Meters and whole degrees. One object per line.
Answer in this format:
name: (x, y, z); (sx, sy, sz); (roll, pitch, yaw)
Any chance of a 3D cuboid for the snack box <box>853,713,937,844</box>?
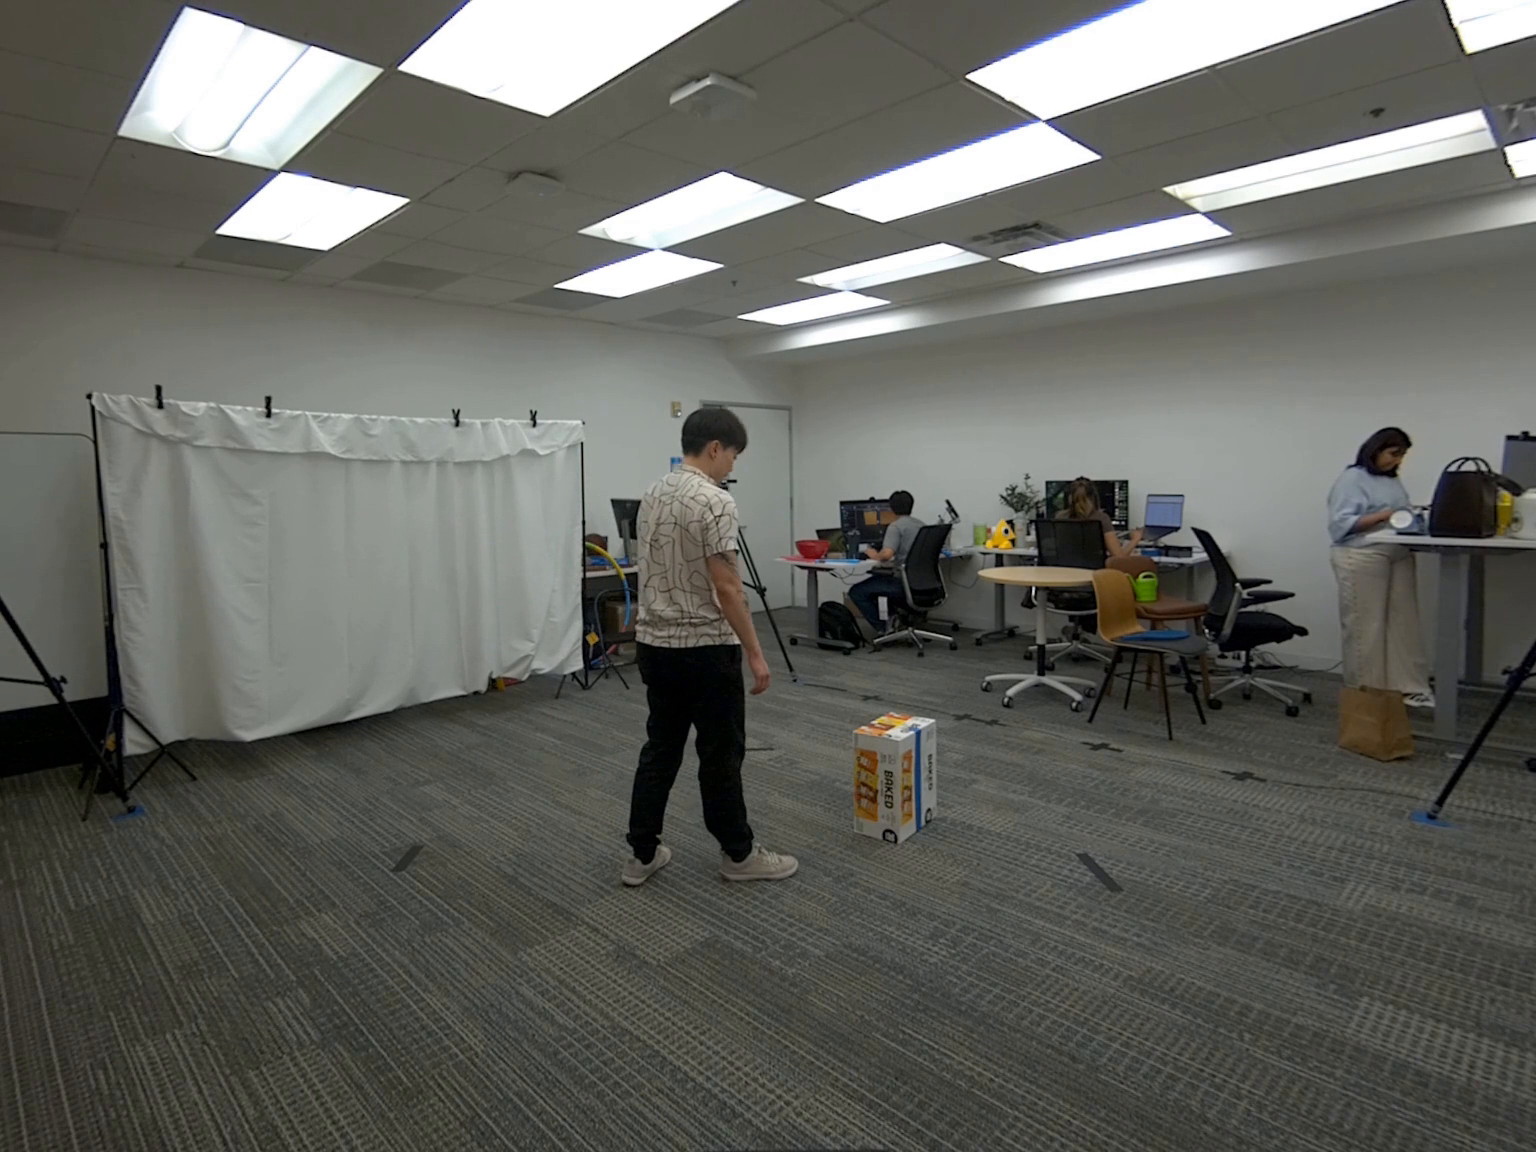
snack box: (0.513, 0.798, 3.433); (0.211, 0.404, 0.332); (2, 6, 36)
